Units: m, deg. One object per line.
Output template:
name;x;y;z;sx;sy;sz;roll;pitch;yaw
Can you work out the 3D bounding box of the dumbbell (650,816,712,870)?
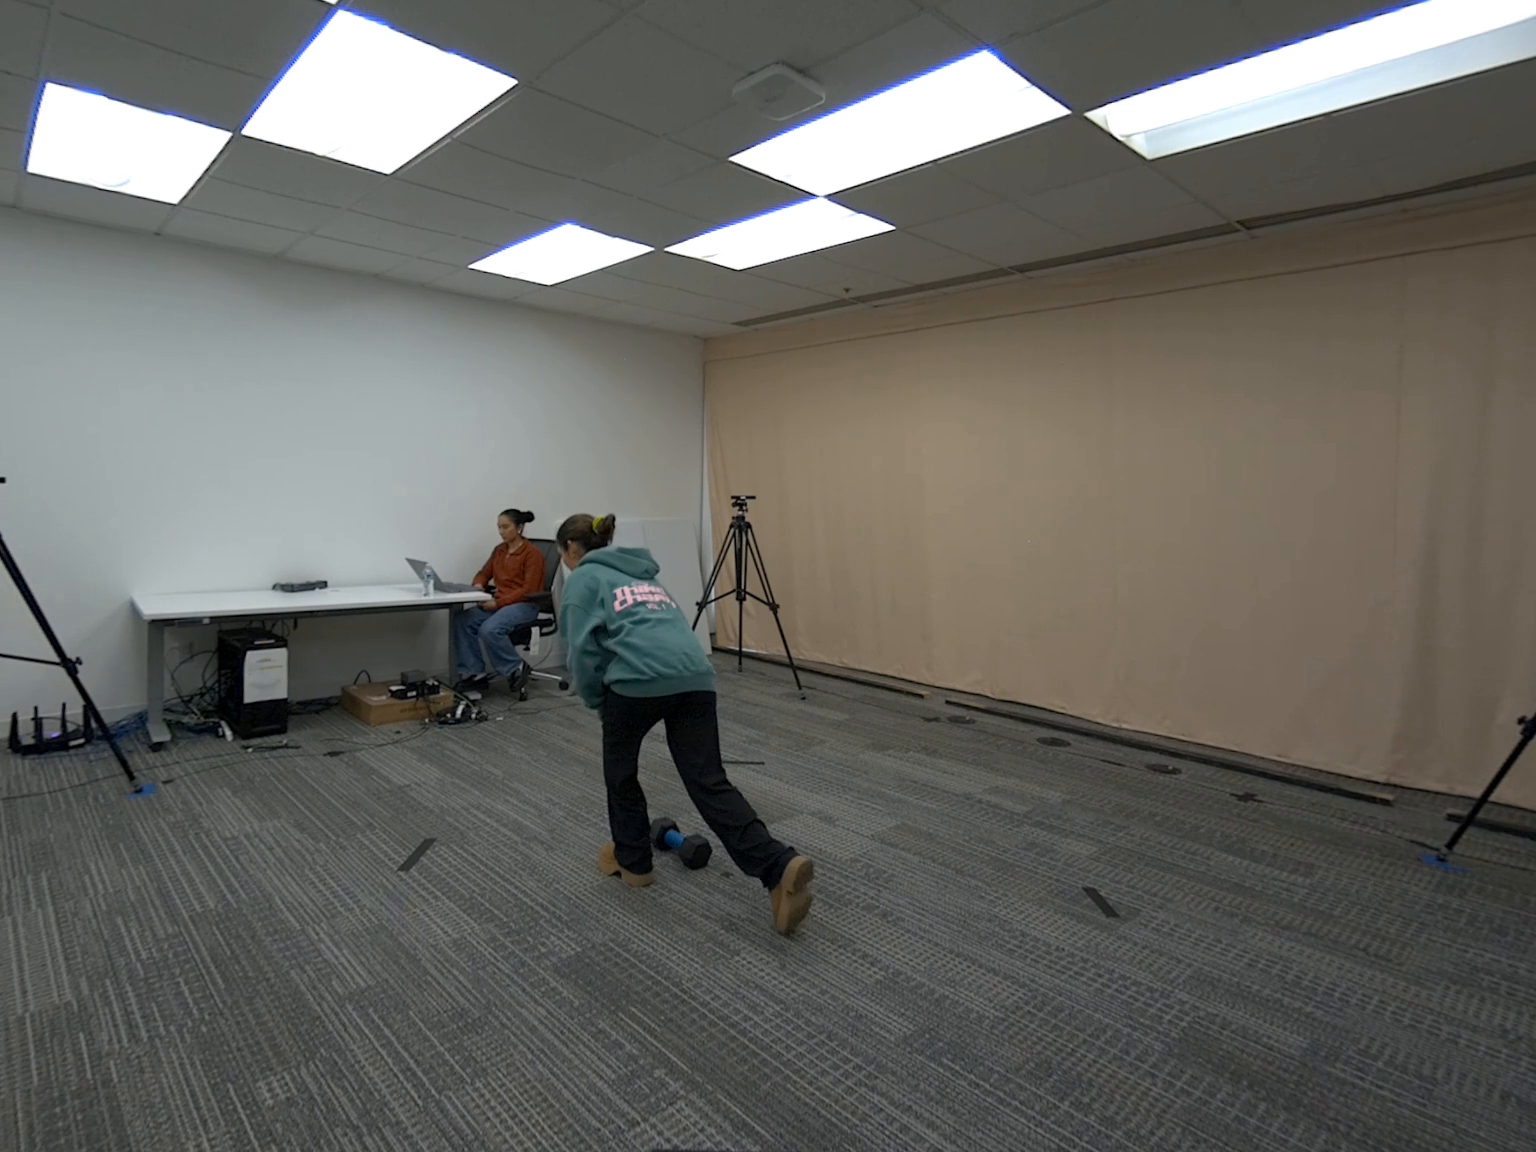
dumbbell;-0.350;1.028;3.255;0.105;0.123;0.301;37;-18;-36
